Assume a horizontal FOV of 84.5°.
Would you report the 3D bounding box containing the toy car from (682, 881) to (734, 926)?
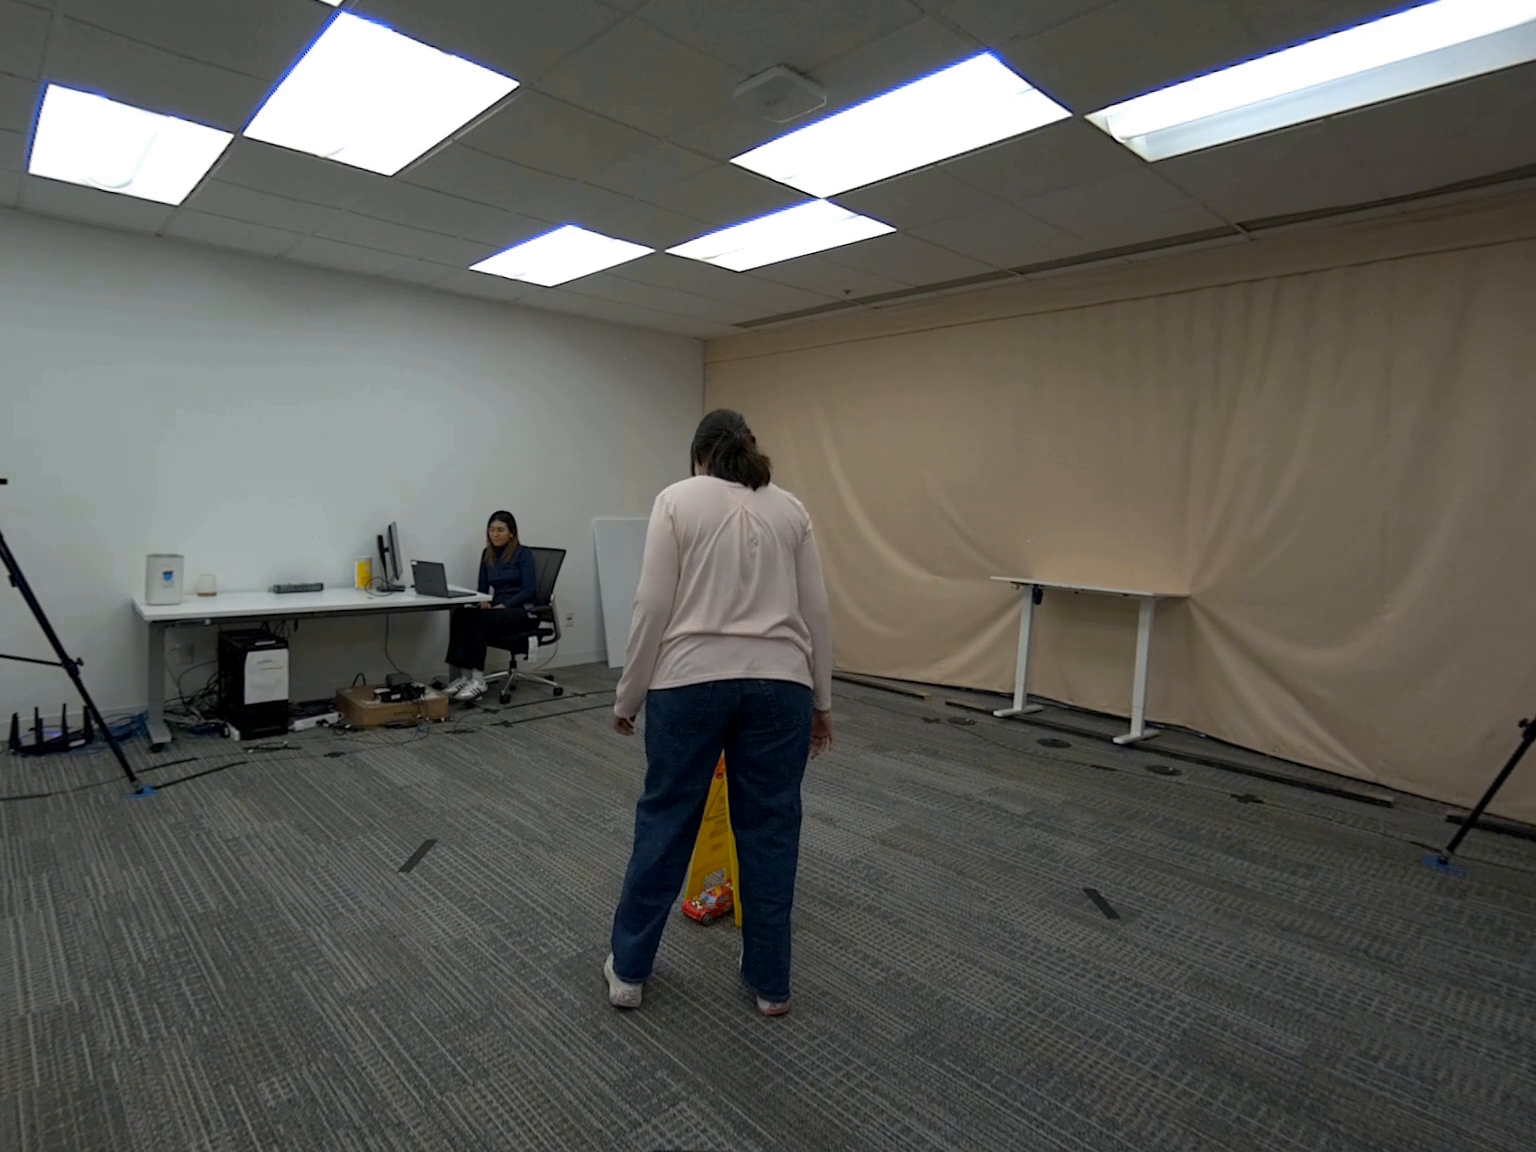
[{"bbox_3d":[-0.177,1.095,2.842,0.250,0.082,0.133,-15,13,-41],"label":"toy car"}]
